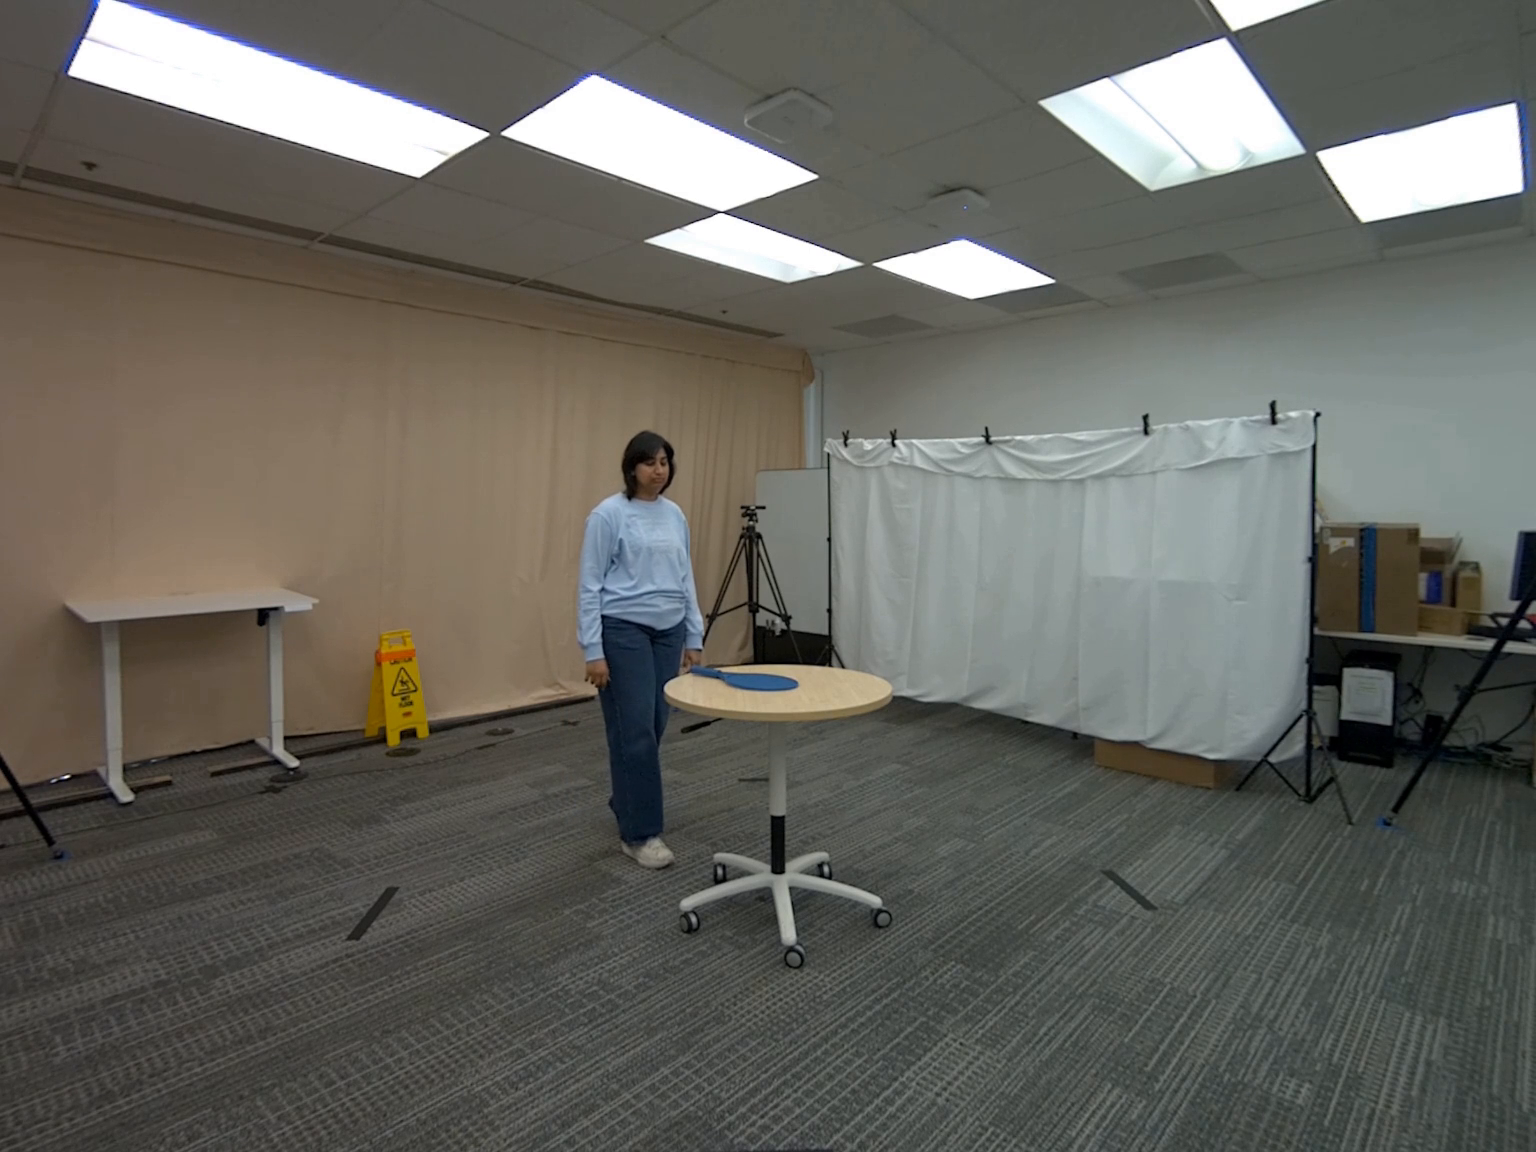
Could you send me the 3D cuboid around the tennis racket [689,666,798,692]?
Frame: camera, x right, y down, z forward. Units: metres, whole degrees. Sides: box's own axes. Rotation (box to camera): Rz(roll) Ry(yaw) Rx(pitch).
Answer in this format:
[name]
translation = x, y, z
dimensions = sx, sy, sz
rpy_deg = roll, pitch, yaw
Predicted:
[tennis racket]
translation = -0.090, 0.360, 2.919
dimensions = 0.447, 0.031, 0.207
rpy_deg = 5, 6, 35
